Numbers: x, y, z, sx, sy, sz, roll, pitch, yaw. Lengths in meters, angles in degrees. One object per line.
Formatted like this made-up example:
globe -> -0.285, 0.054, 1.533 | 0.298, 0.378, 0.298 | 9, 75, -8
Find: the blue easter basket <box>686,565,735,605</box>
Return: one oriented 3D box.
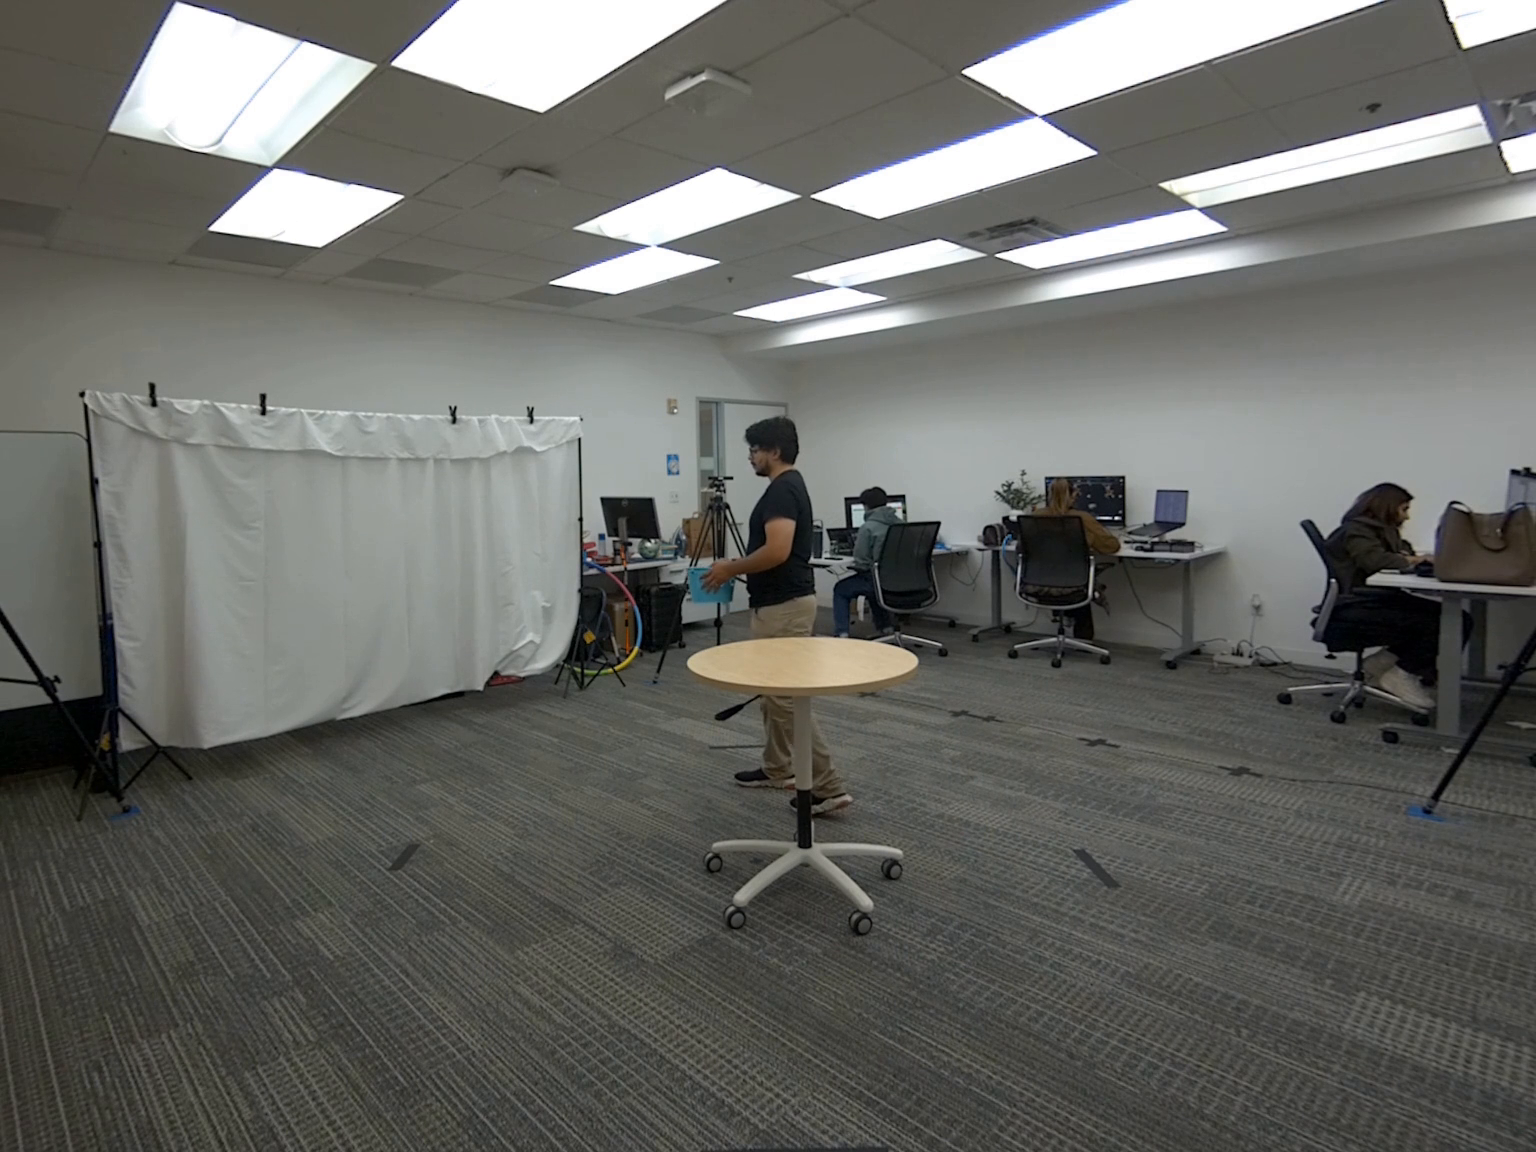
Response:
blue easter basket -> -0.237, 0.040, 3.774 | 0.243, 0.156, 0.244 | 1, 2, -2
